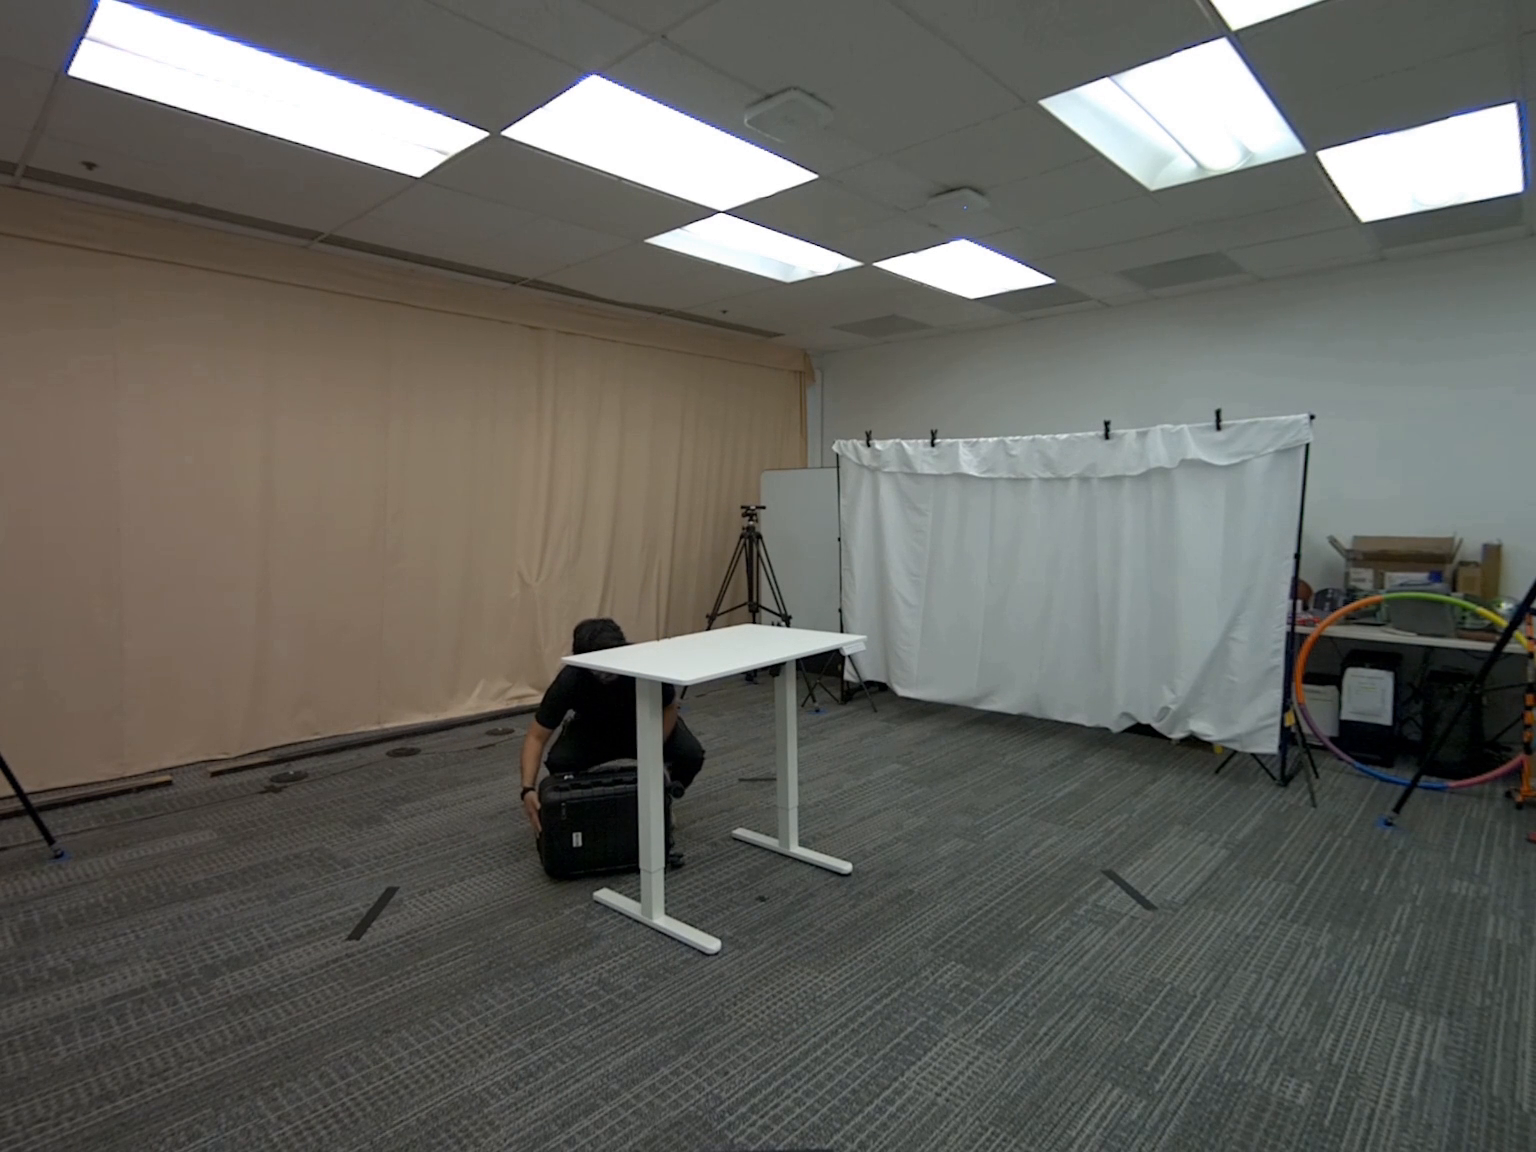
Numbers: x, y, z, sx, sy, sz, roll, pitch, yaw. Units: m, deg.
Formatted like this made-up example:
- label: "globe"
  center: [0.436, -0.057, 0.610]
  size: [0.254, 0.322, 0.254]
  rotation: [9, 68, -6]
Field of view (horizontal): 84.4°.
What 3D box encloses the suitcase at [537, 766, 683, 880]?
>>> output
- label: "suitcase"
  center: [-0.614, 0.926, 3.236]
  size: [0.540, 0.374, 0.253]
  rotation: [-1, 7, -16]
